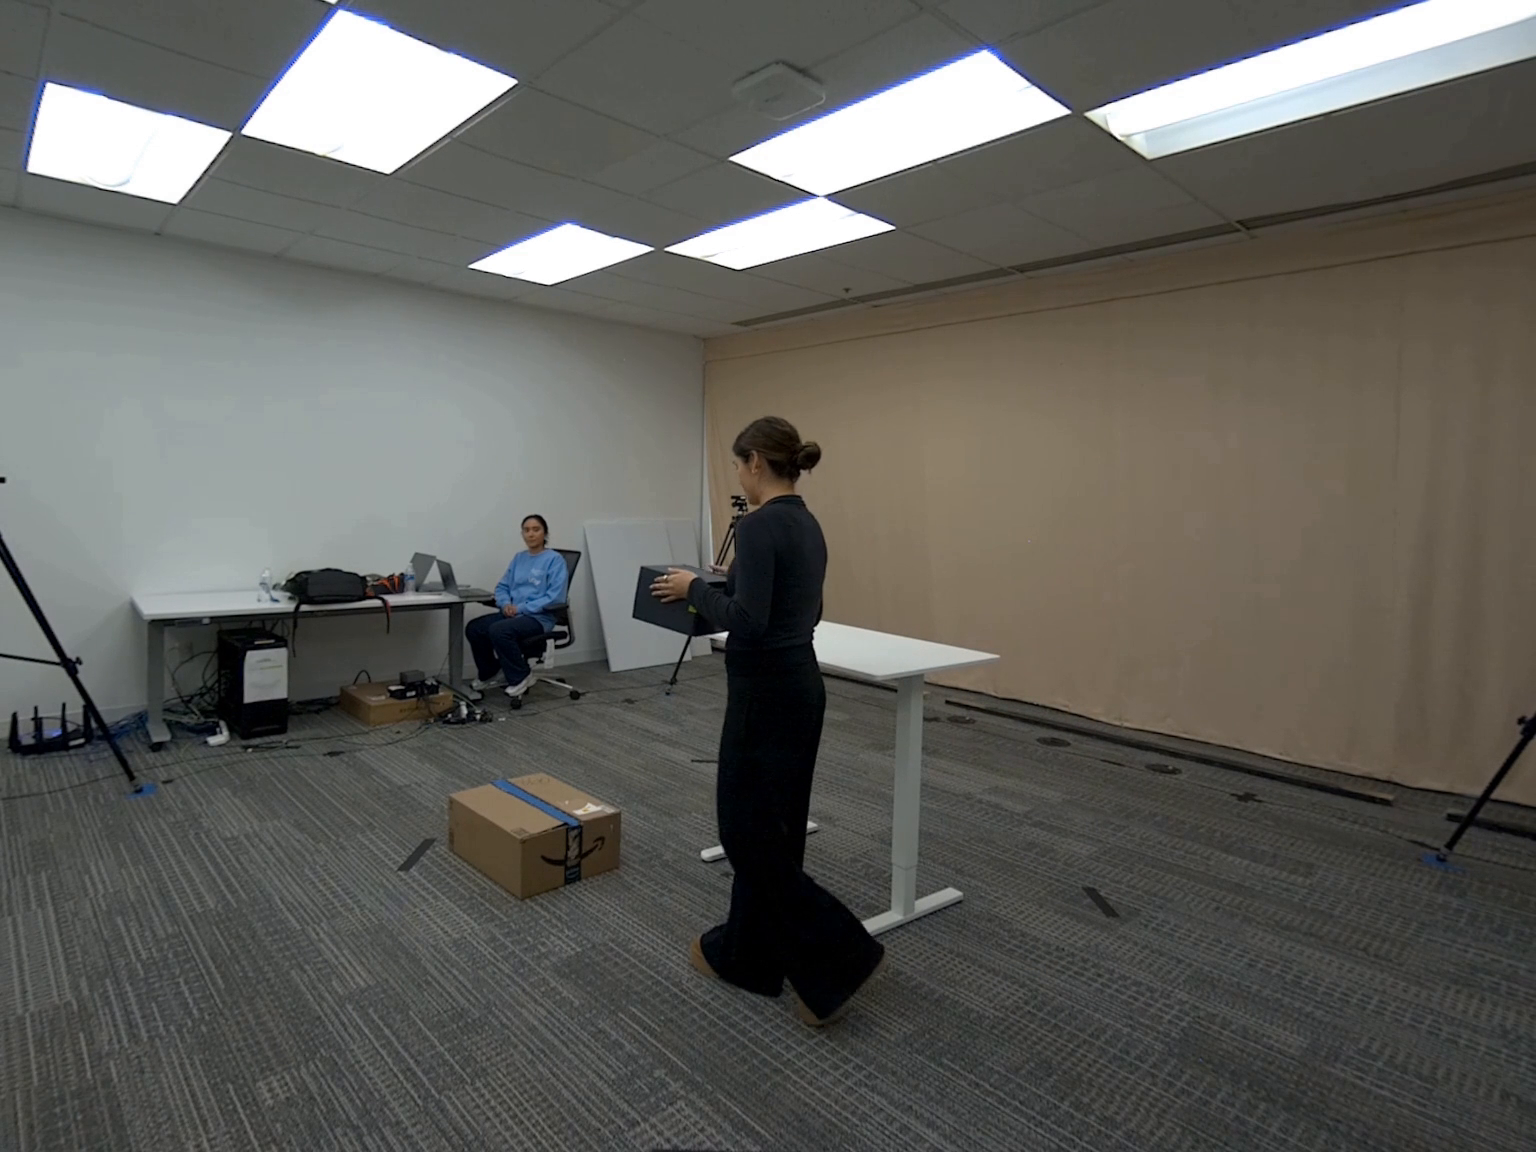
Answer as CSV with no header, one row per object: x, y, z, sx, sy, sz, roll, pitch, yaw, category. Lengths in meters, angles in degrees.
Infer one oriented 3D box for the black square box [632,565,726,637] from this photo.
-0.234,0.067,2.461,0.222,0.155,0.223,12,7,28,black square box
